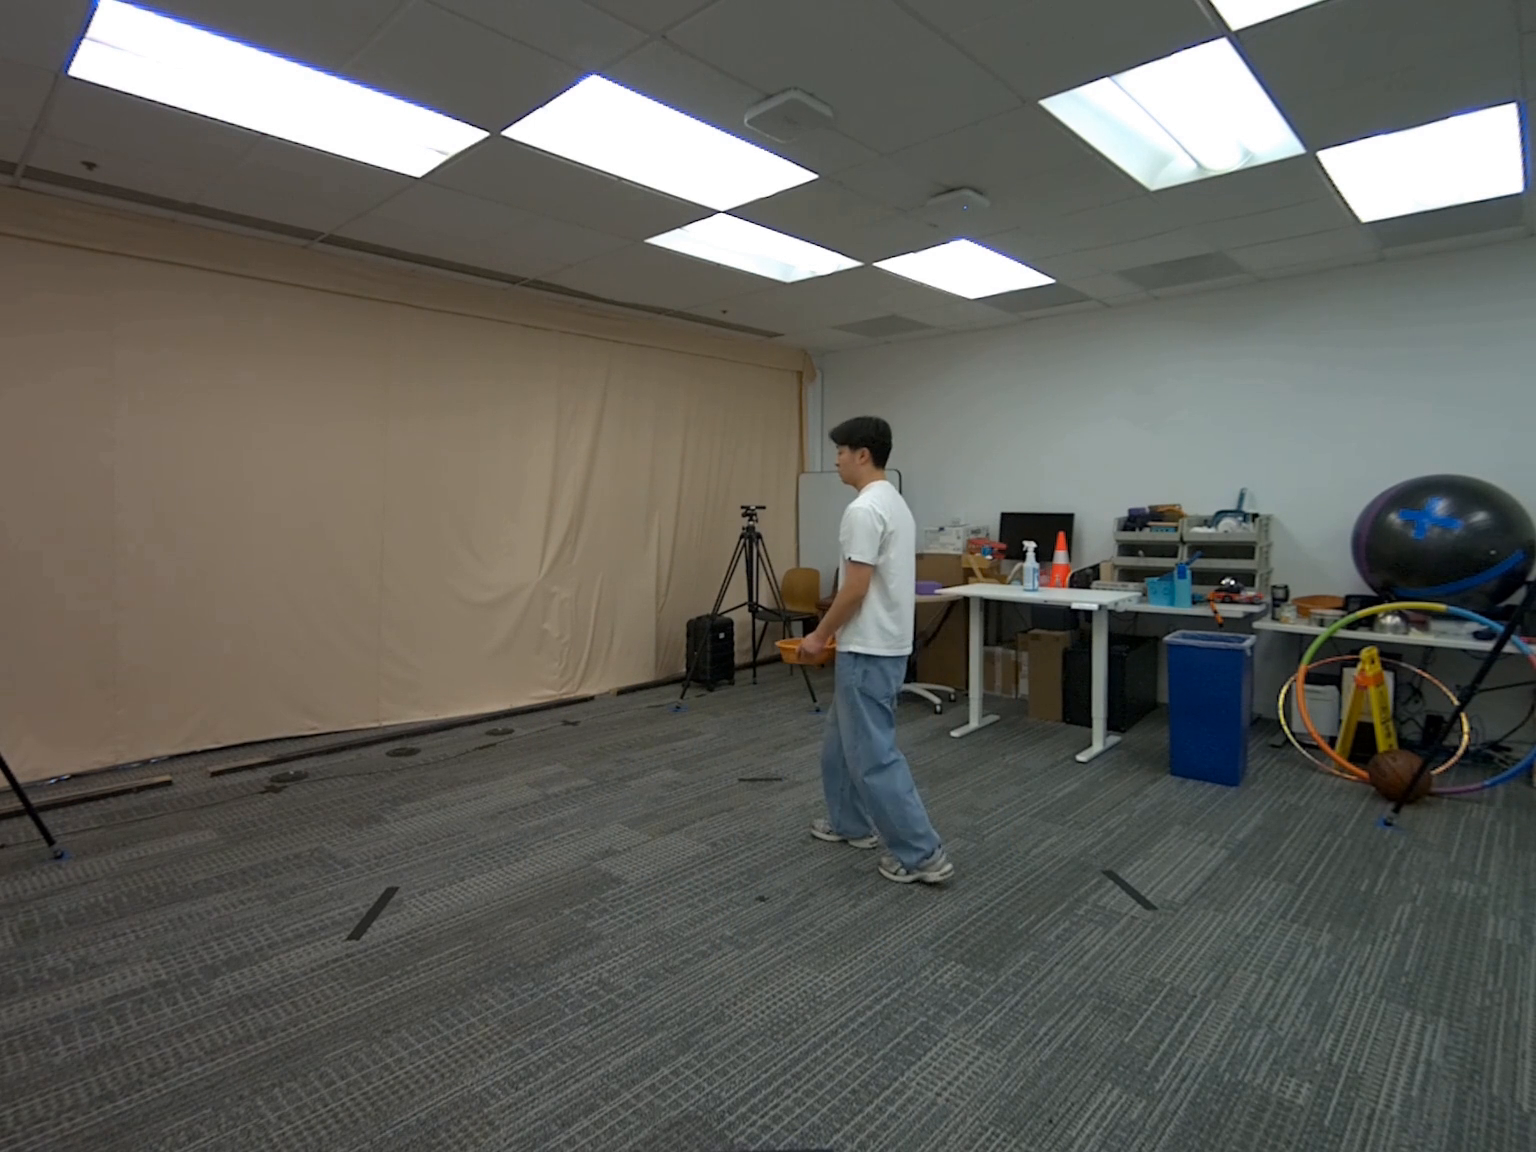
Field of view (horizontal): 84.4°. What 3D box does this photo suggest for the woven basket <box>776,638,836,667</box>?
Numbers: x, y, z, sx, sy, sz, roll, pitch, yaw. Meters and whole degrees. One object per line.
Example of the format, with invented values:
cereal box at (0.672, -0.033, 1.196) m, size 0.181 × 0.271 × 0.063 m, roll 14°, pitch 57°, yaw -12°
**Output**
woven basket at (0.189, 0.304, 3.423) m, size 0.260 × 0.073 × 0.341 m, roll 2°, pitch 3°, yaw 30°
